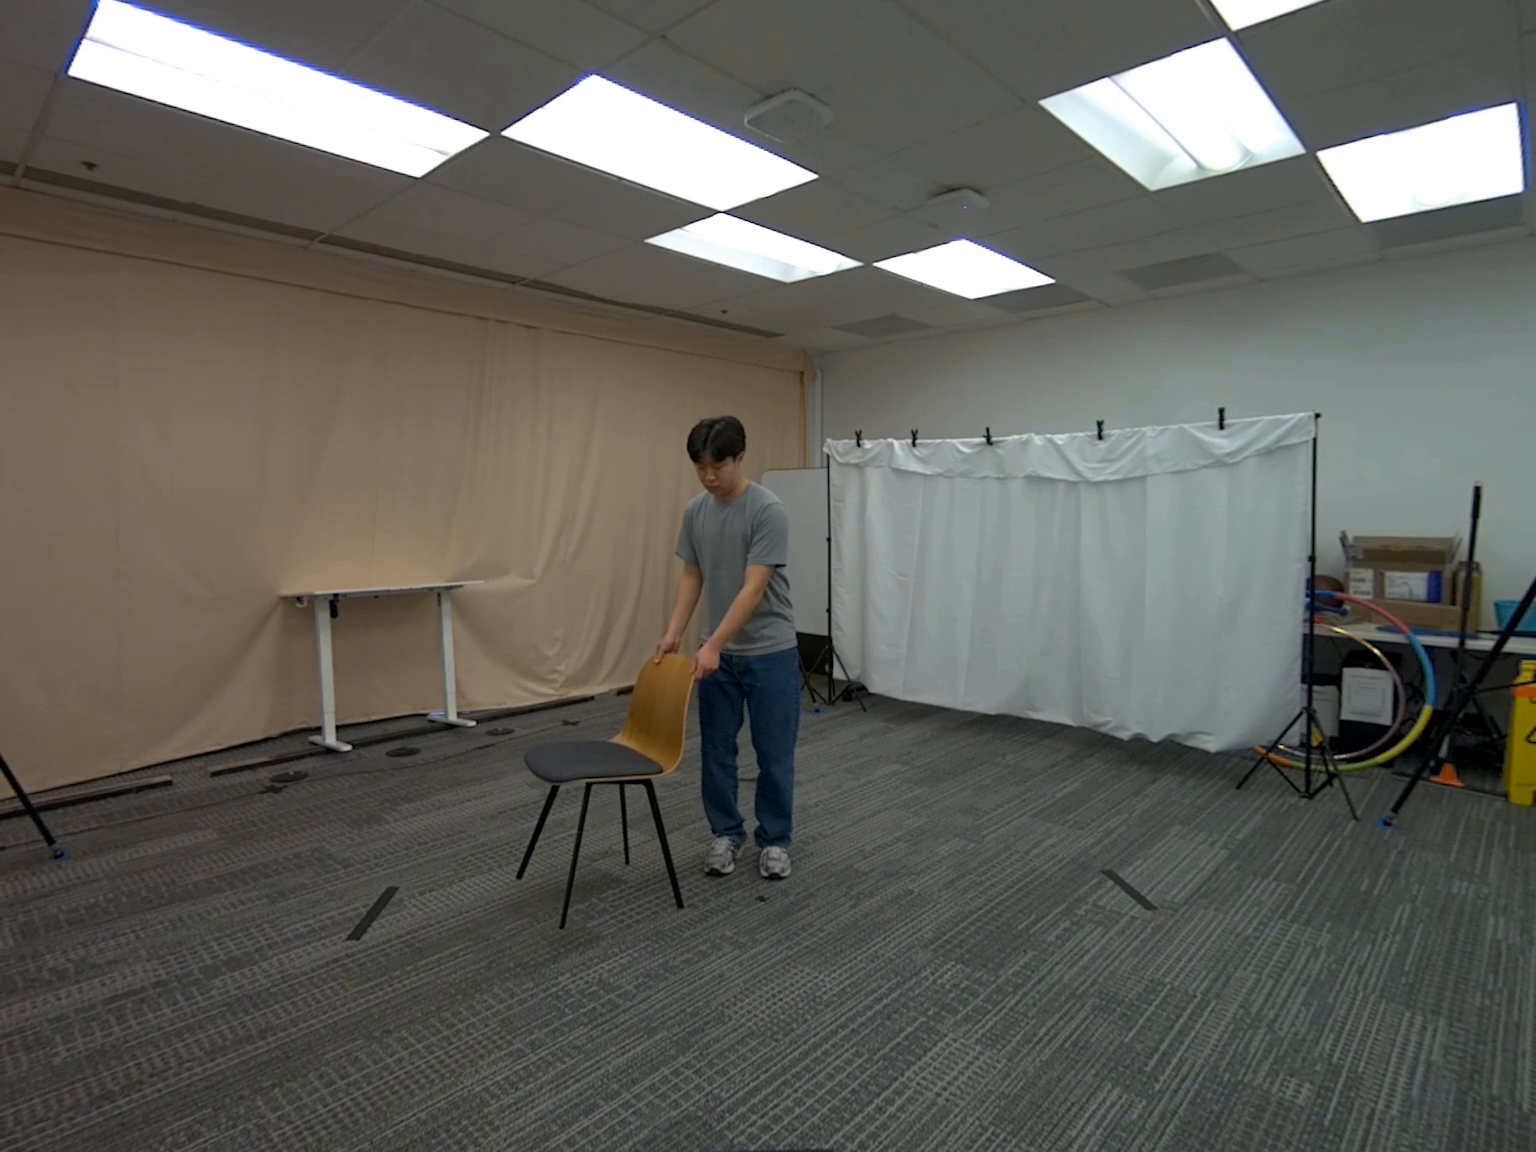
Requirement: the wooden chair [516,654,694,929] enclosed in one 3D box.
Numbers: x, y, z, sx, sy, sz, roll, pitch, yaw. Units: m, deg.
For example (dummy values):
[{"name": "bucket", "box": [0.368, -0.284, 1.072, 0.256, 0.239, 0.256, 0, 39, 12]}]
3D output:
[{"name": "wooden chair", "box": [-0.578, 0.704, 2.974, 0.507, 0.878, 0.492, 10, -3, -33]}]
